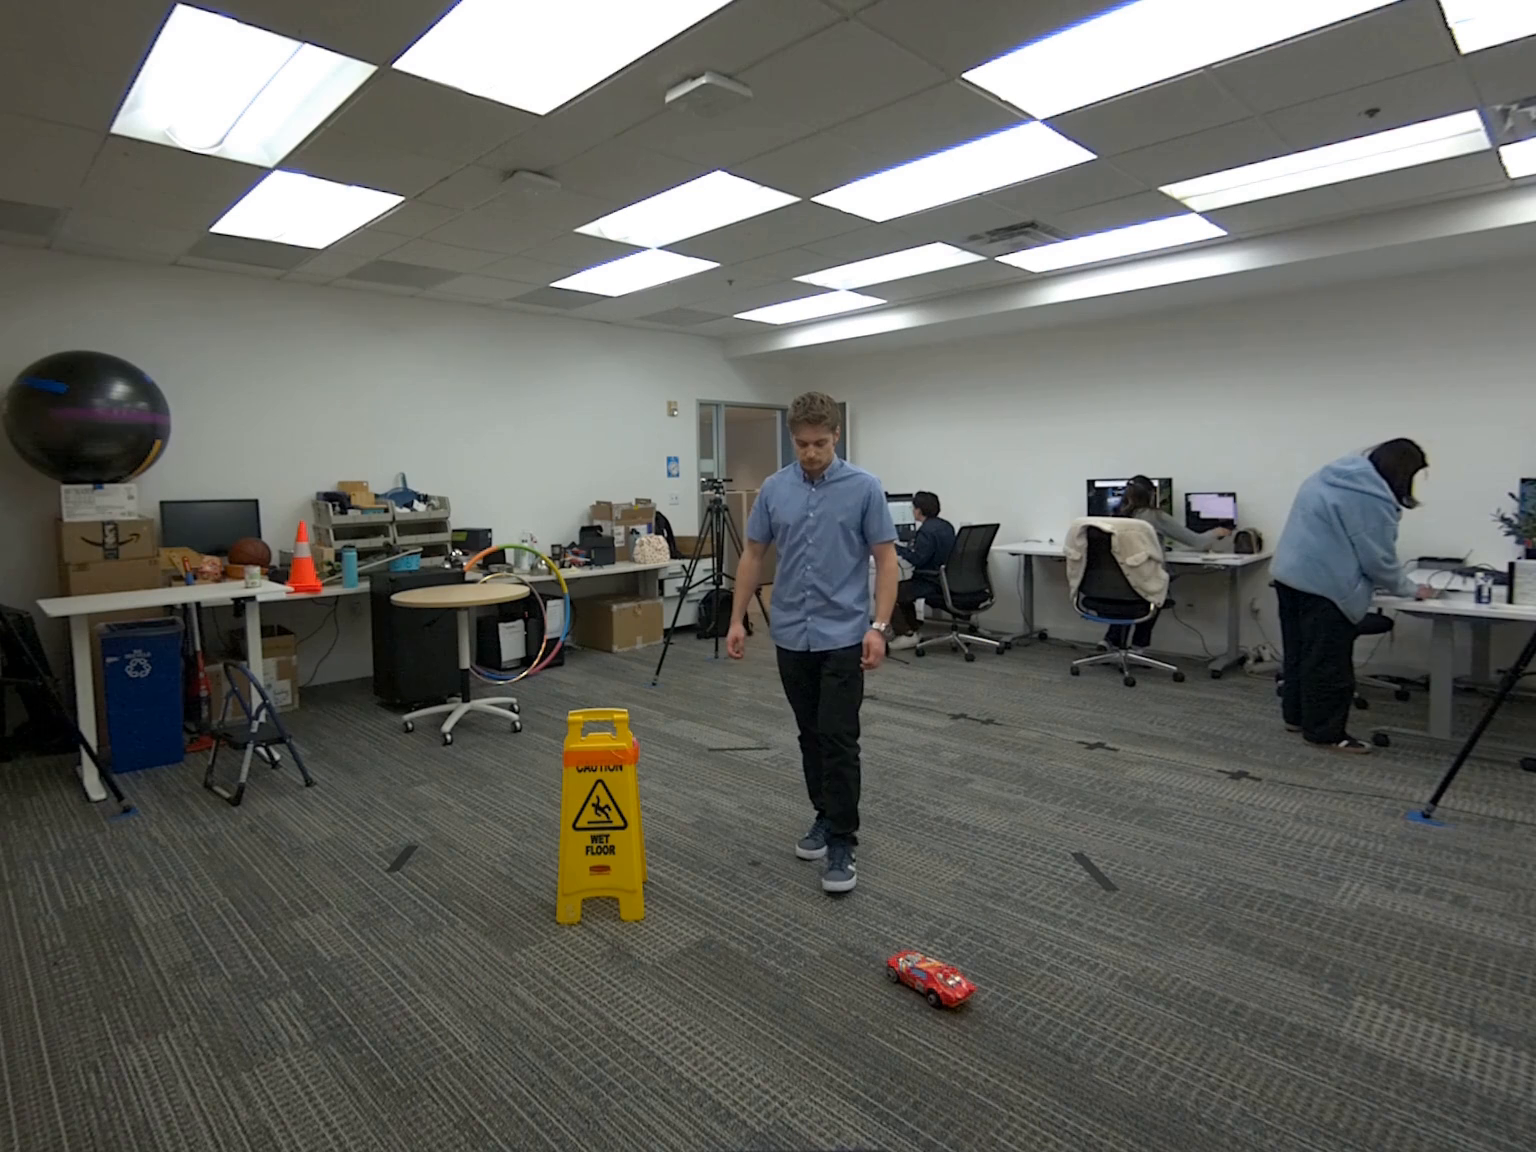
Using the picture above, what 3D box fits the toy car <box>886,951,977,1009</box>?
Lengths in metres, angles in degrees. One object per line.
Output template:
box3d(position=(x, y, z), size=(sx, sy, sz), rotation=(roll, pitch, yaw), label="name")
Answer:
box3d(position=(0.450, 1.099, 2.316), size=(0.127, 0.083, 0.260), rotation=(-6, -3, -37), label="toy car")
